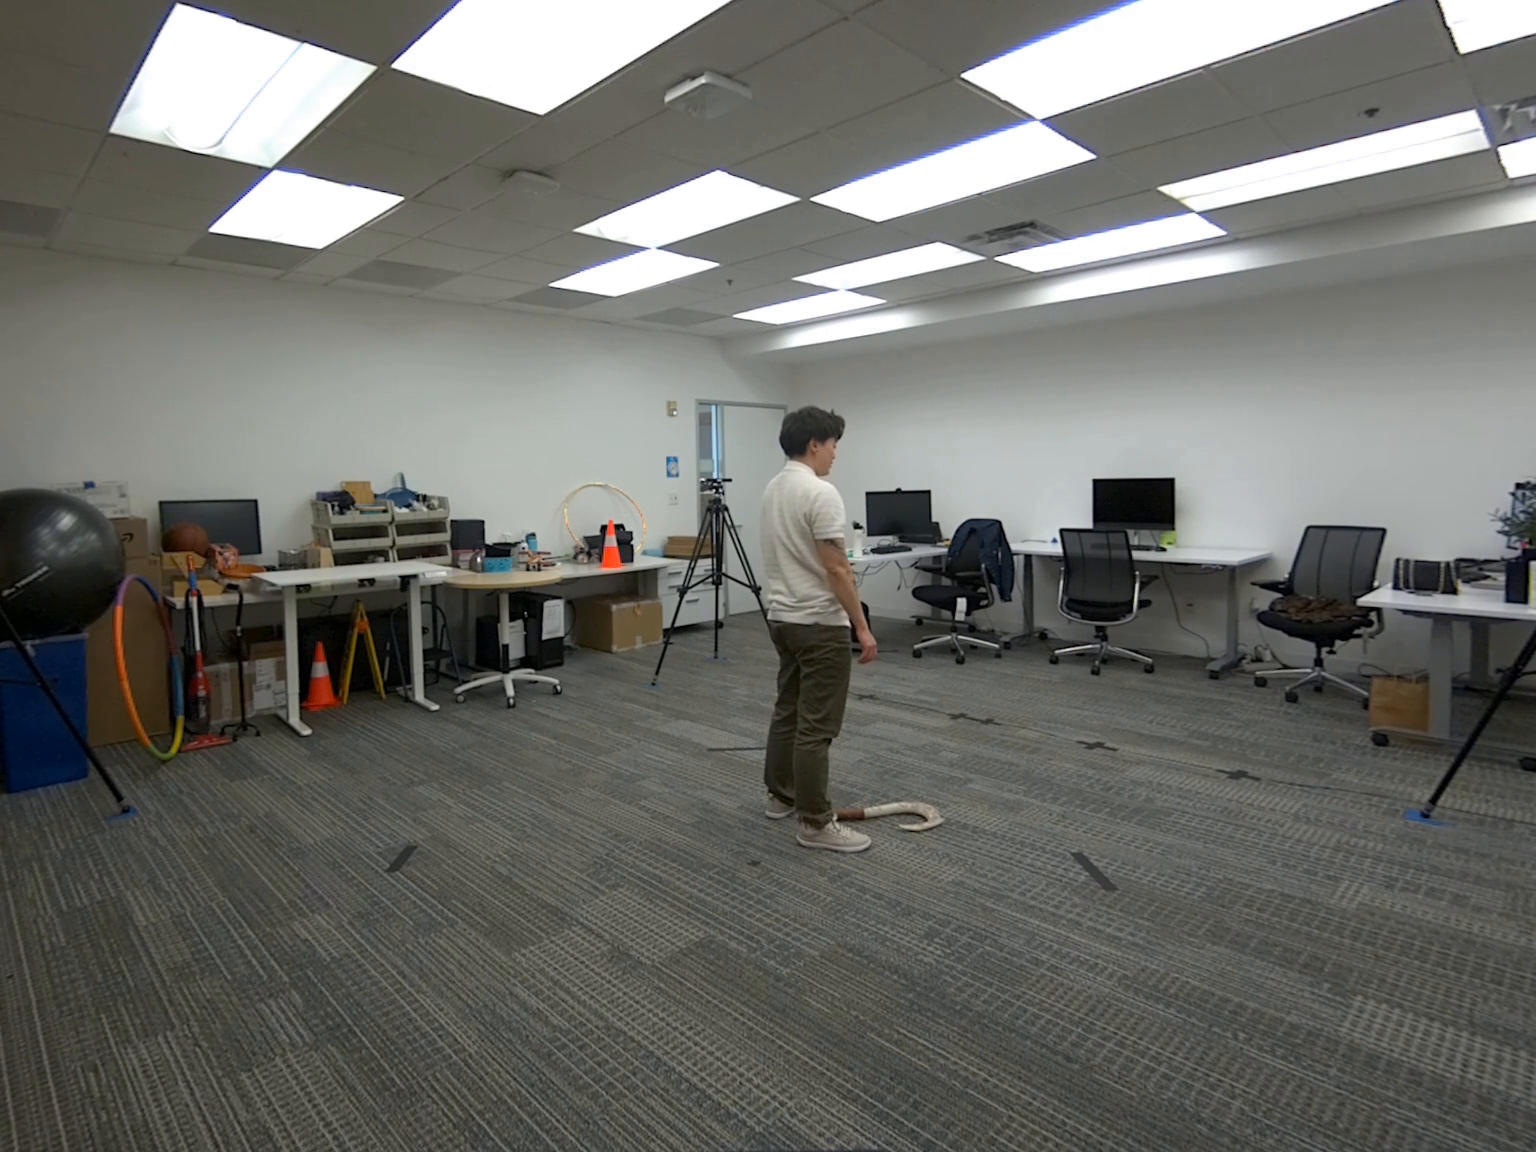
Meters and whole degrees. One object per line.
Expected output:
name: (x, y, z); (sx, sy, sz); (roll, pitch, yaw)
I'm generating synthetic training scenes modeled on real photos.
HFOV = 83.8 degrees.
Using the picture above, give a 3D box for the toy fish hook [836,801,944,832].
toy fish hook: (0.448, 0.970, 3.449); (0.504, 0.048, 0.226); (-2, 5, -5)
